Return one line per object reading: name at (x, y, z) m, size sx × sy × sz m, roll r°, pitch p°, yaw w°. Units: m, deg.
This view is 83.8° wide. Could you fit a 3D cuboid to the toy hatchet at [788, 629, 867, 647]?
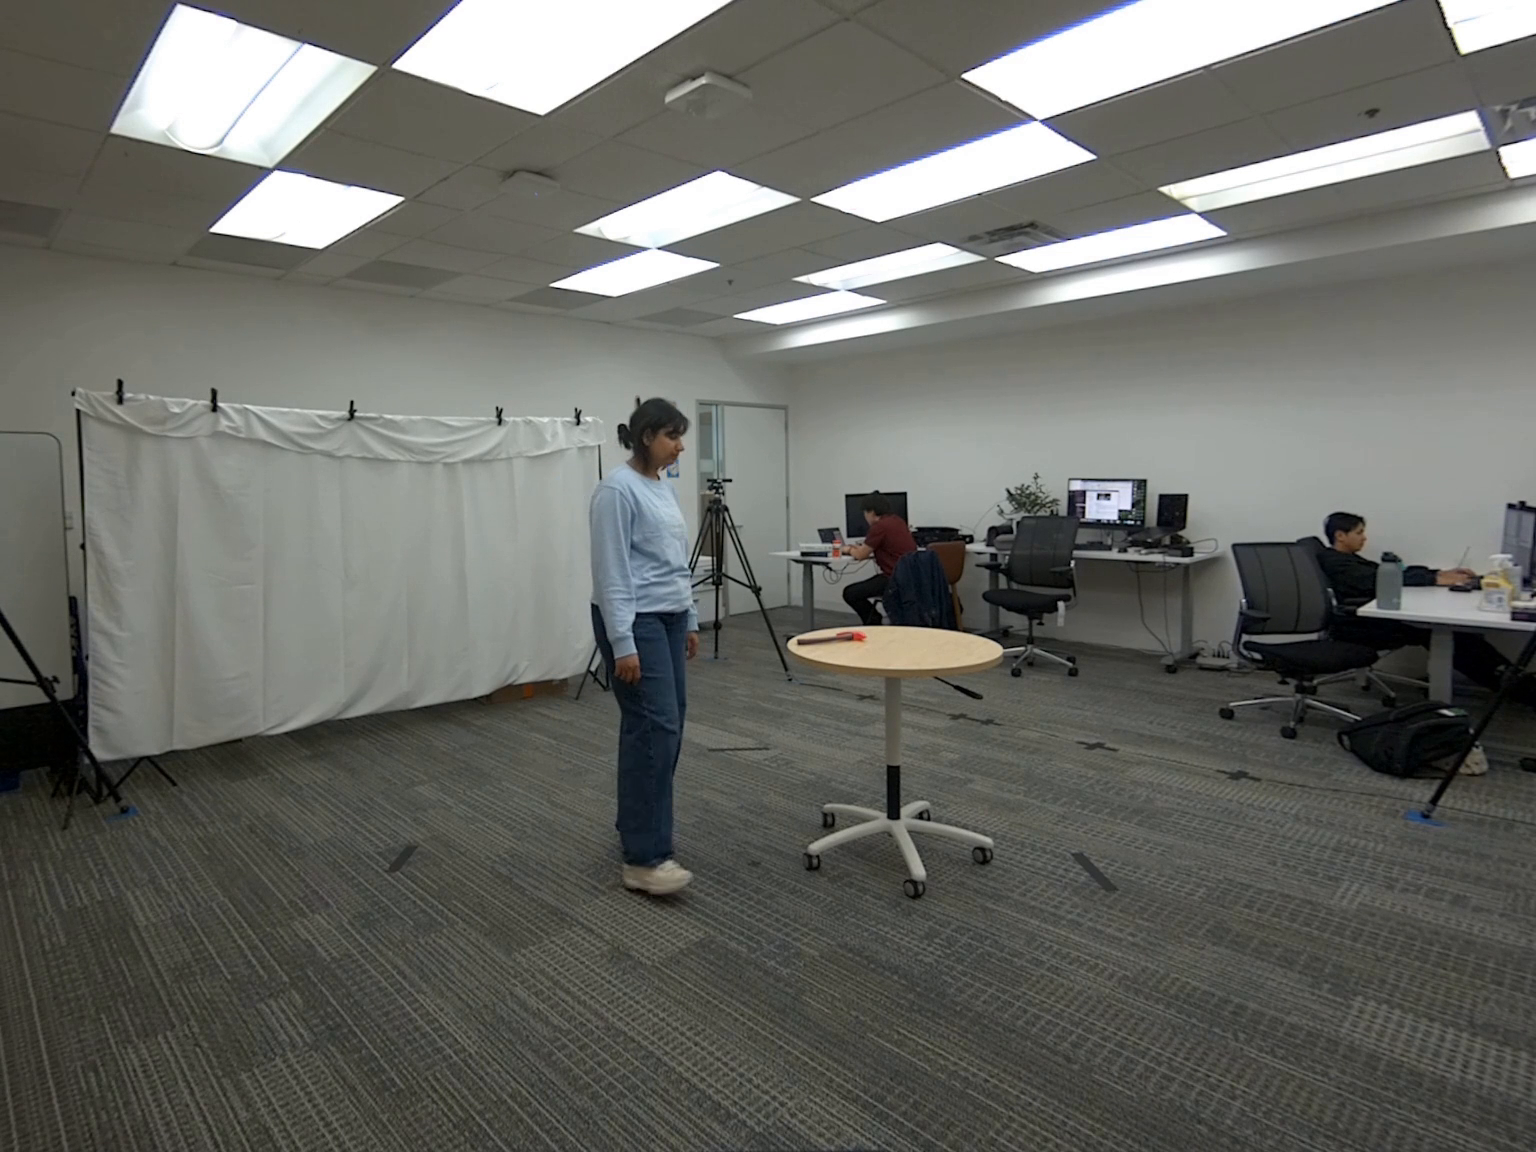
toy hatchet at (0.226, 0.229, 3.222) m, size 0.268 × 0.029 × 0.133 m, roll -3°, pitch 7°, yaw -8°
